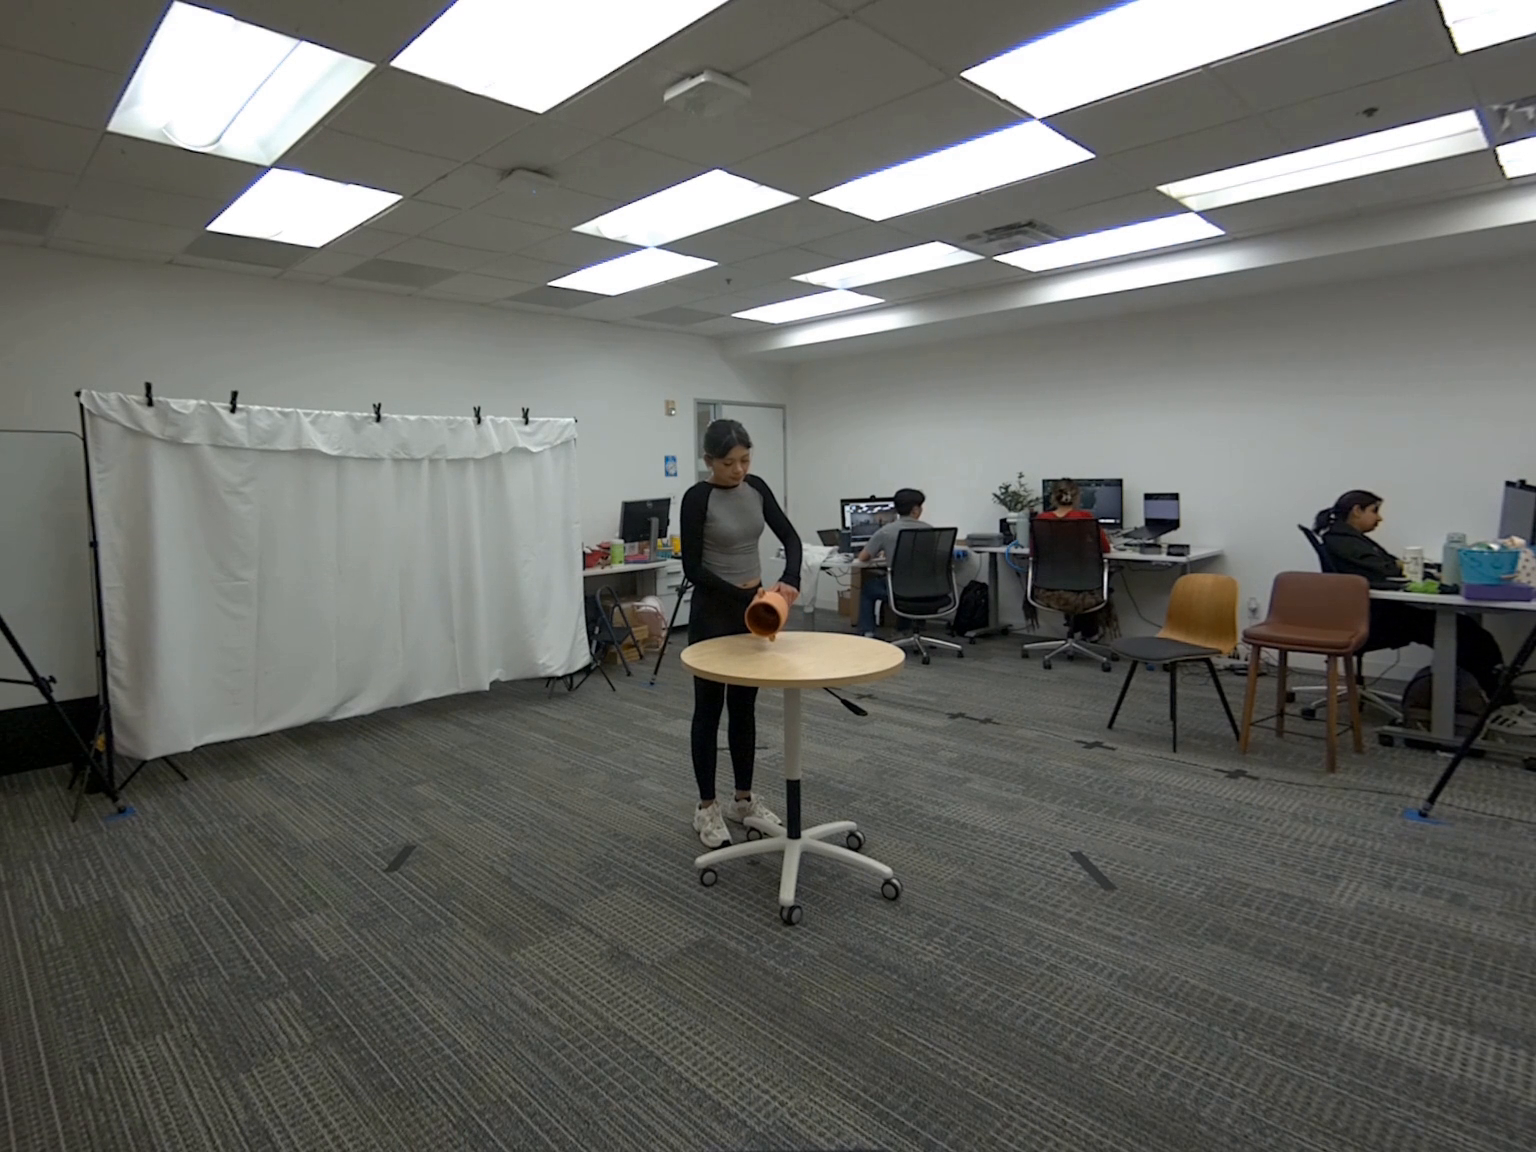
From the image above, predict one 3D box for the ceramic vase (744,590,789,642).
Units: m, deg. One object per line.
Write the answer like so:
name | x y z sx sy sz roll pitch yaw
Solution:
ceramic vase | 0.016 0.116 3.023 0.135 0.158 0.220 31 22 4
